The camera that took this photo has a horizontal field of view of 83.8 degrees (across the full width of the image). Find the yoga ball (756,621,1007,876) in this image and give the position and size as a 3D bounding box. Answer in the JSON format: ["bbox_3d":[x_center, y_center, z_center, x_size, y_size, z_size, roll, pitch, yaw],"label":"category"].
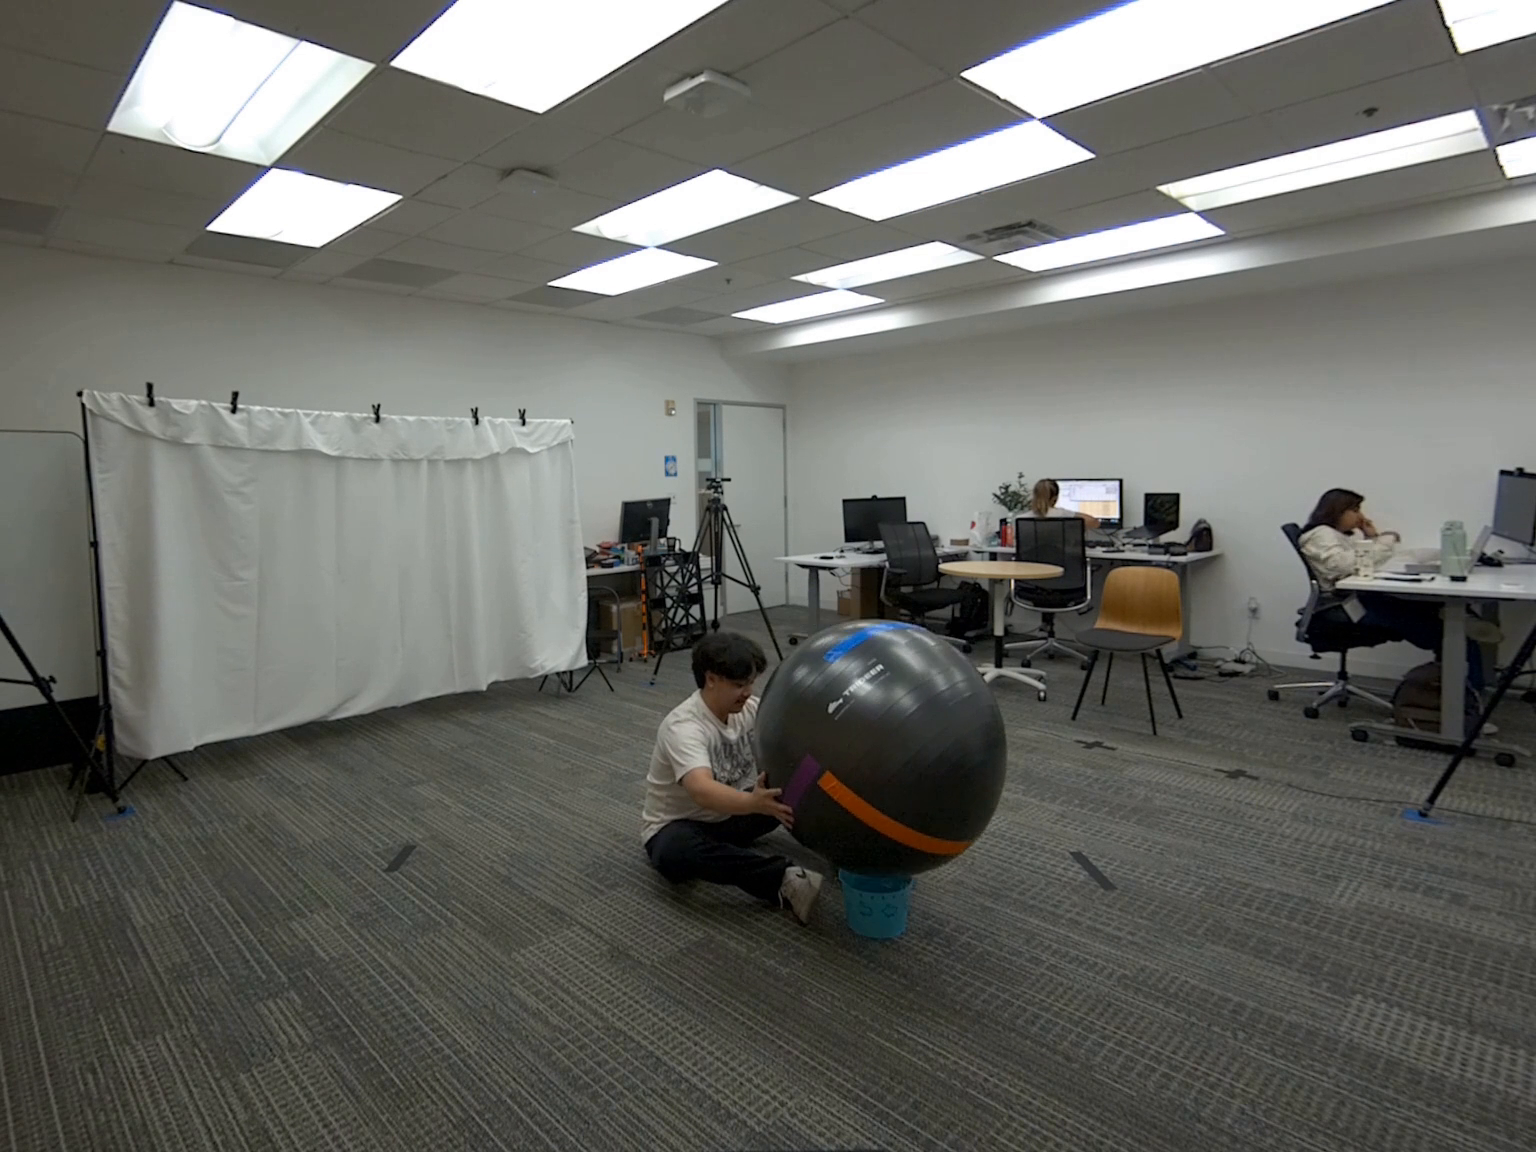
[{"bbox_3d":[0.334,0.508,2.612,0.757,0.755,0.762,-1,5,-2],"label":"yoga ball"}]
